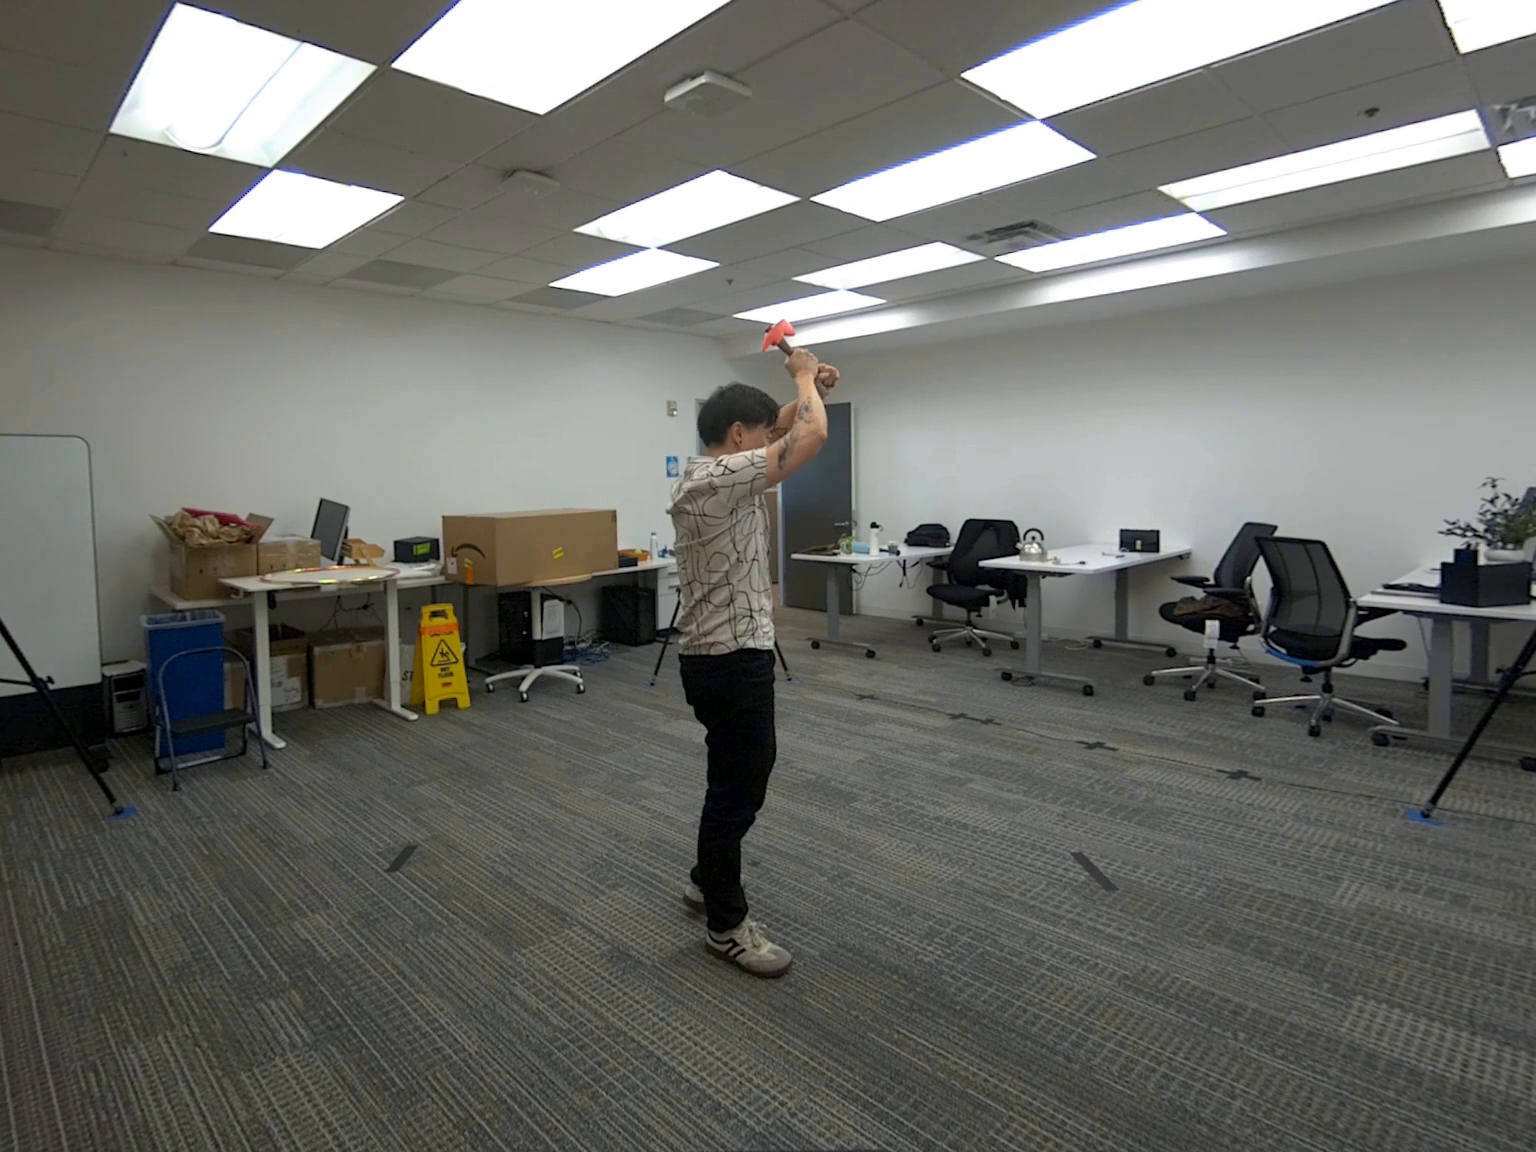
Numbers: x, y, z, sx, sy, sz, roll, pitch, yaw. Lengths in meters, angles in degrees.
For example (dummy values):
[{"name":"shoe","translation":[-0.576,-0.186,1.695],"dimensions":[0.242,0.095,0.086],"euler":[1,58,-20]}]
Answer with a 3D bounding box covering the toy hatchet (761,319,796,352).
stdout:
[{"name":"toy hatchet","translation":[0.102,-0.675,2.510],"dimensions":[0.263,0.132,0.030],"euler":[18,-17,-23]}]
